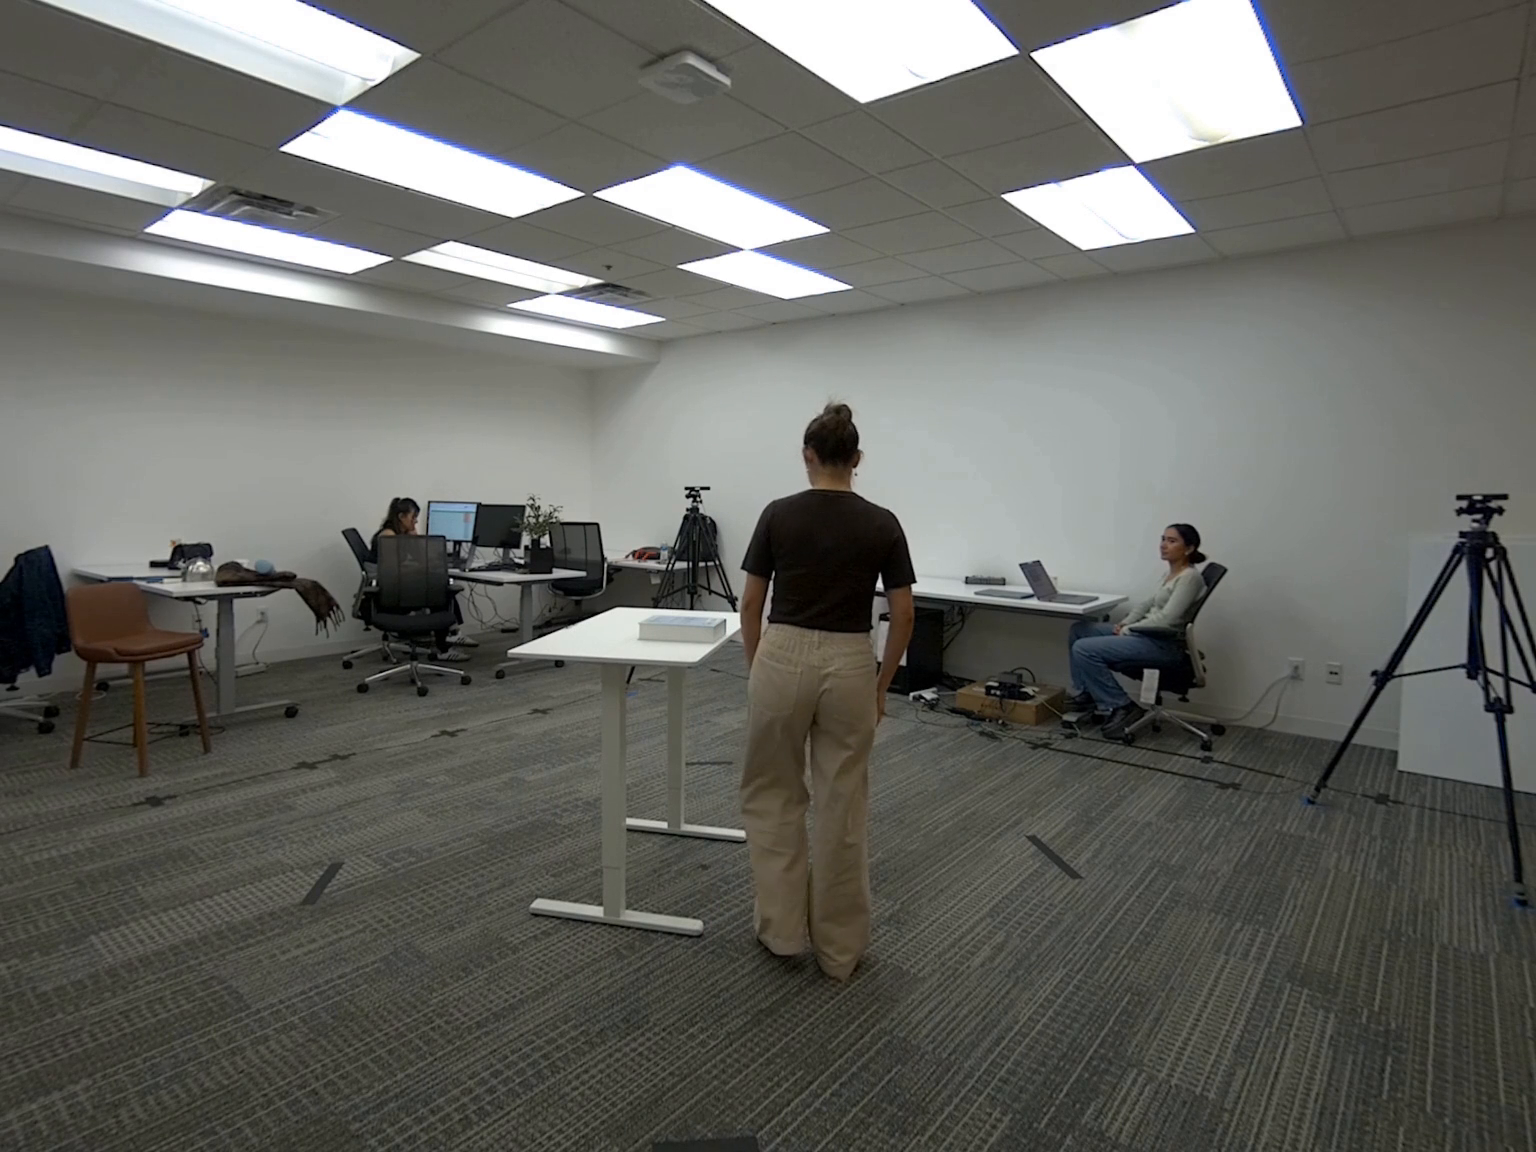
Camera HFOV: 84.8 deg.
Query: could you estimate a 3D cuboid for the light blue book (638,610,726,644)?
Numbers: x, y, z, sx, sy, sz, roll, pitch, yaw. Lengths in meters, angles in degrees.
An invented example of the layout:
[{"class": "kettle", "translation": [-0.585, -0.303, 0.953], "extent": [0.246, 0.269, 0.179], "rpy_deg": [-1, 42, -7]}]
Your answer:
[{"class": "light blue book", "translation": [-0.298, 0.176, 2.874], "extent": [0.265, 0.059, 0.190], "rpy_deg": [2, 7, 12]}]
